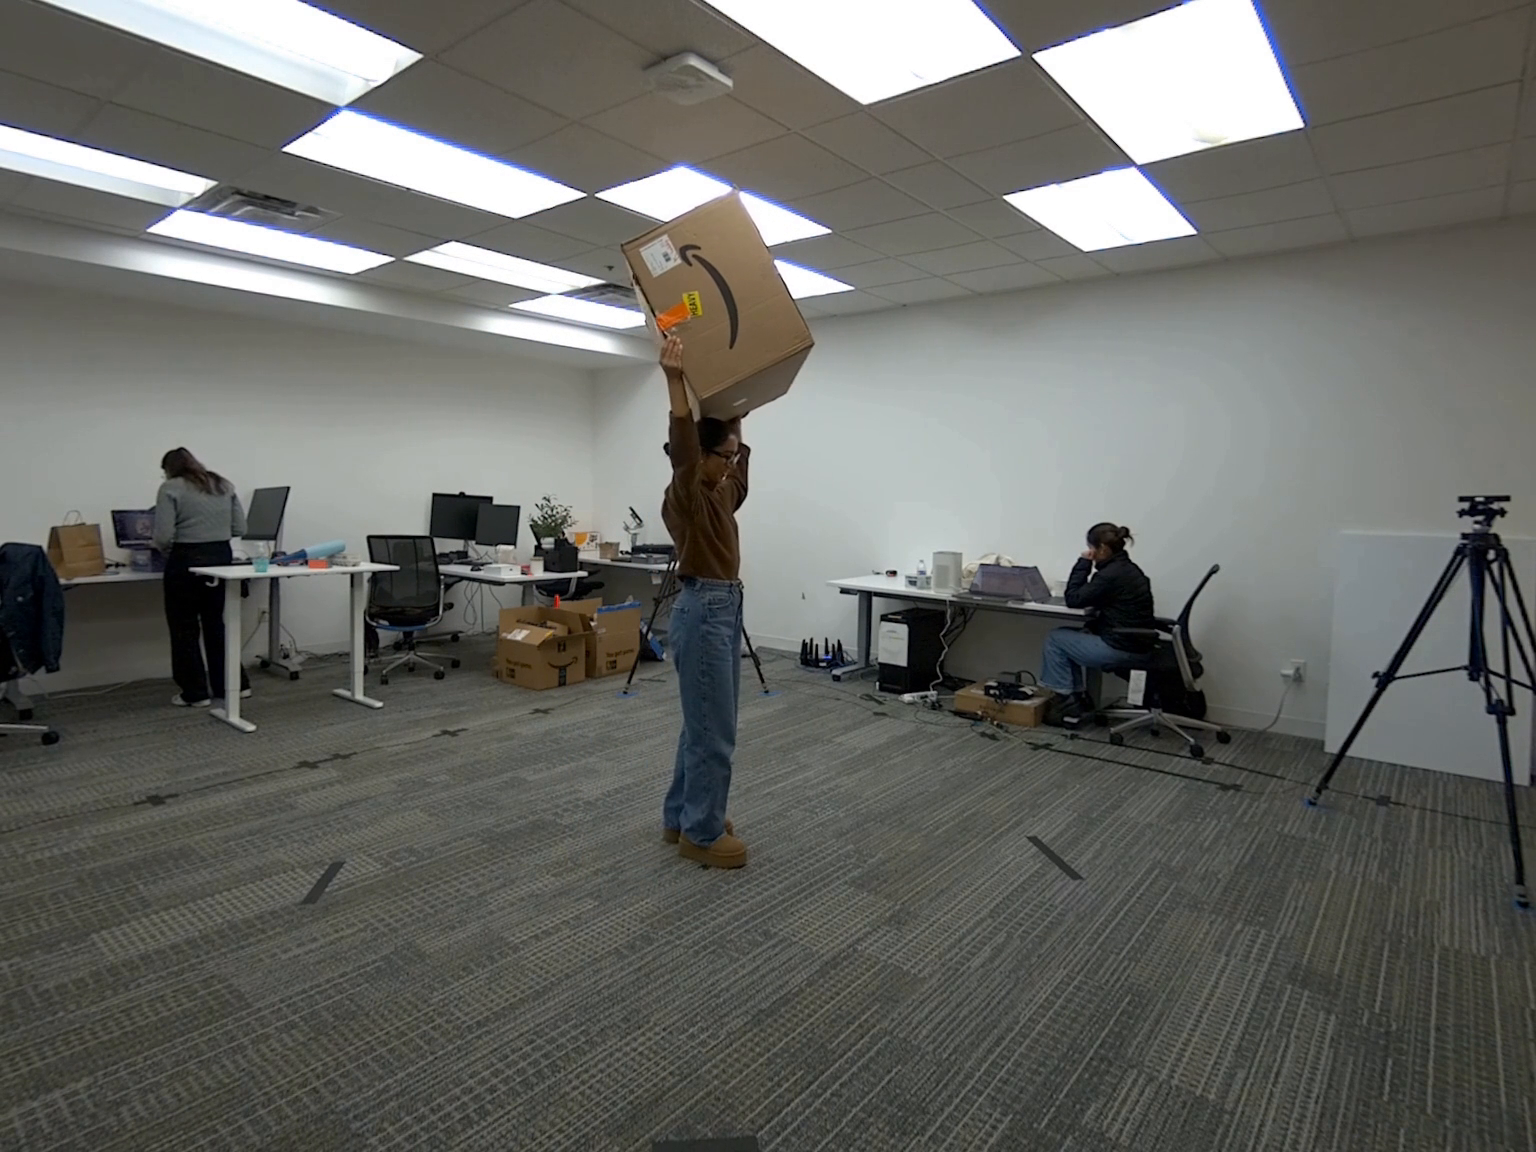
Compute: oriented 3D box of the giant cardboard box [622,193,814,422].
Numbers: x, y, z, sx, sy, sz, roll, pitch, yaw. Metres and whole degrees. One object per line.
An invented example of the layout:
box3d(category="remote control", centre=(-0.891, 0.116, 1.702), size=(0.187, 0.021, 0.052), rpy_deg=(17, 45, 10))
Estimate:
box3d(category="giant cardboard box", centre=(-0.211, -0.942, 3.245), size=(0.426, 0.576, 1.028), rpy_deg=(-27, 3, -1))
